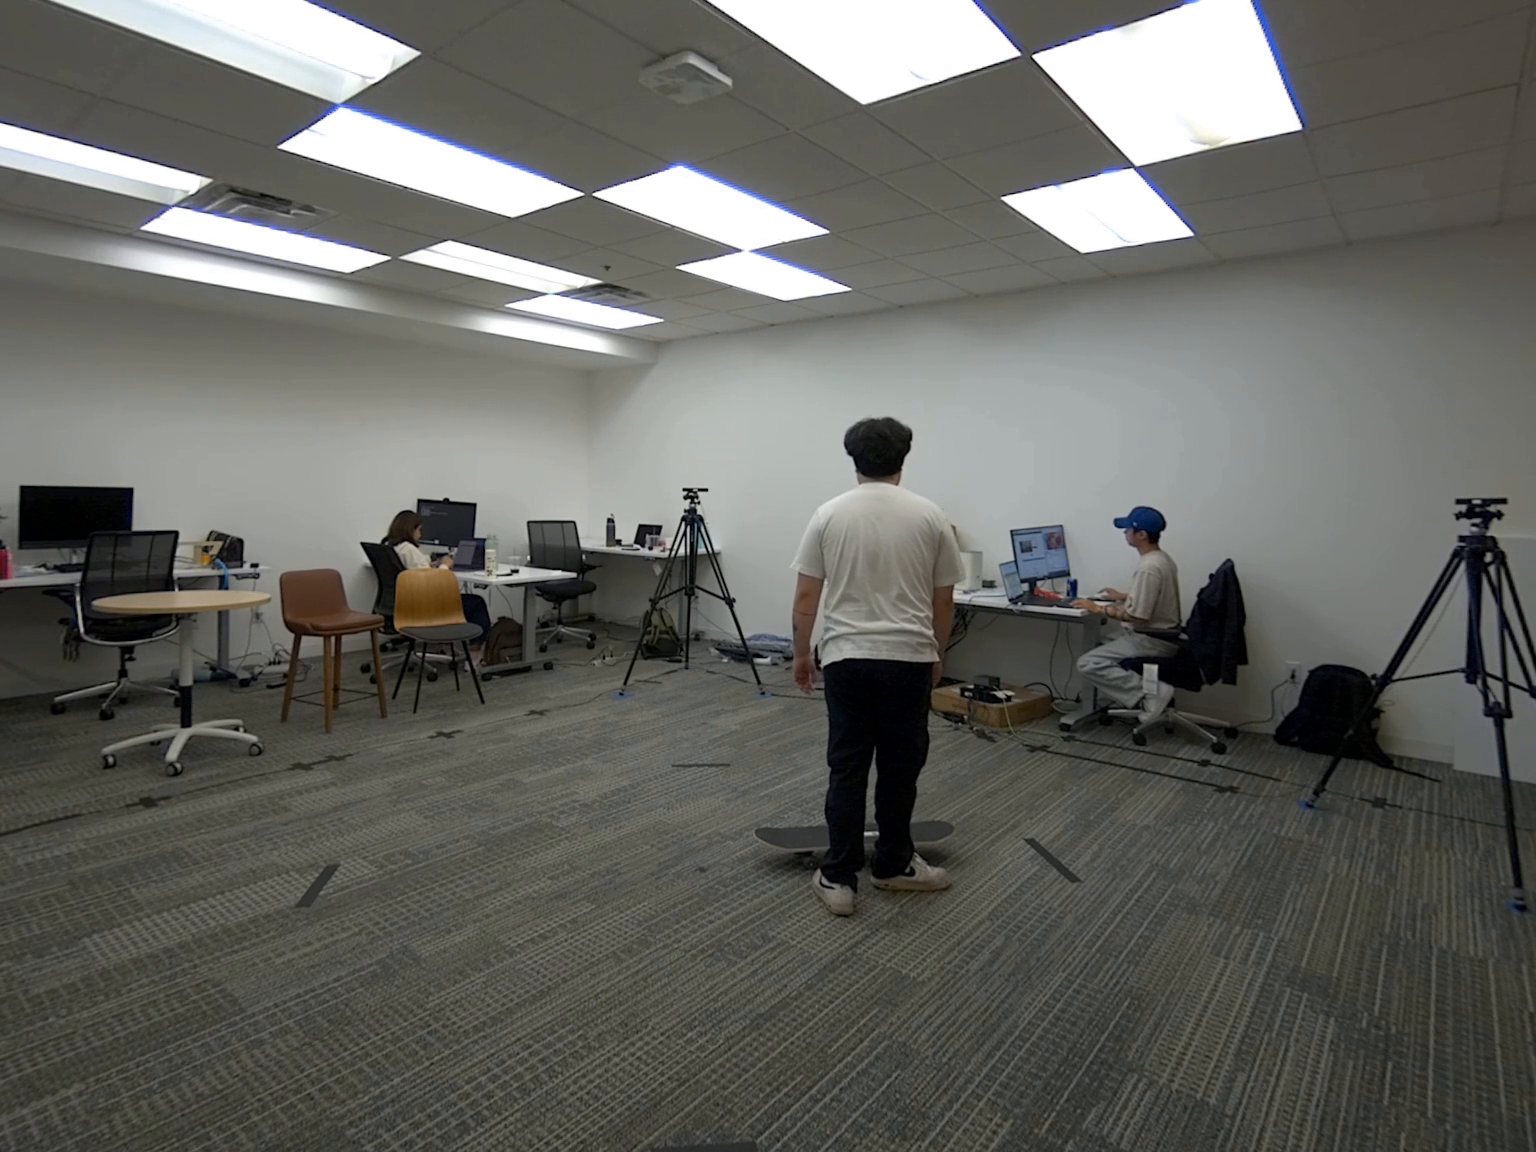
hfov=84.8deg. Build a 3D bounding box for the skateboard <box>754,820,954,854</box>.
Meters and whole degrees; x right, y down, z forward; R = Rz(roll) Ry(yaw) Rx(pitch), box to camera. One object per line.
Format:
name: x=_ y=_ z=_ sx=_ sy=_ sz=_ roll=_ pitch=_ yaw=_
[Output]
skateboard: x=0.320 y=1.007 z=3.237 sx=0.777 sy=0.110 sz=0.196 roll=0 pitch=5 yaw=-10
